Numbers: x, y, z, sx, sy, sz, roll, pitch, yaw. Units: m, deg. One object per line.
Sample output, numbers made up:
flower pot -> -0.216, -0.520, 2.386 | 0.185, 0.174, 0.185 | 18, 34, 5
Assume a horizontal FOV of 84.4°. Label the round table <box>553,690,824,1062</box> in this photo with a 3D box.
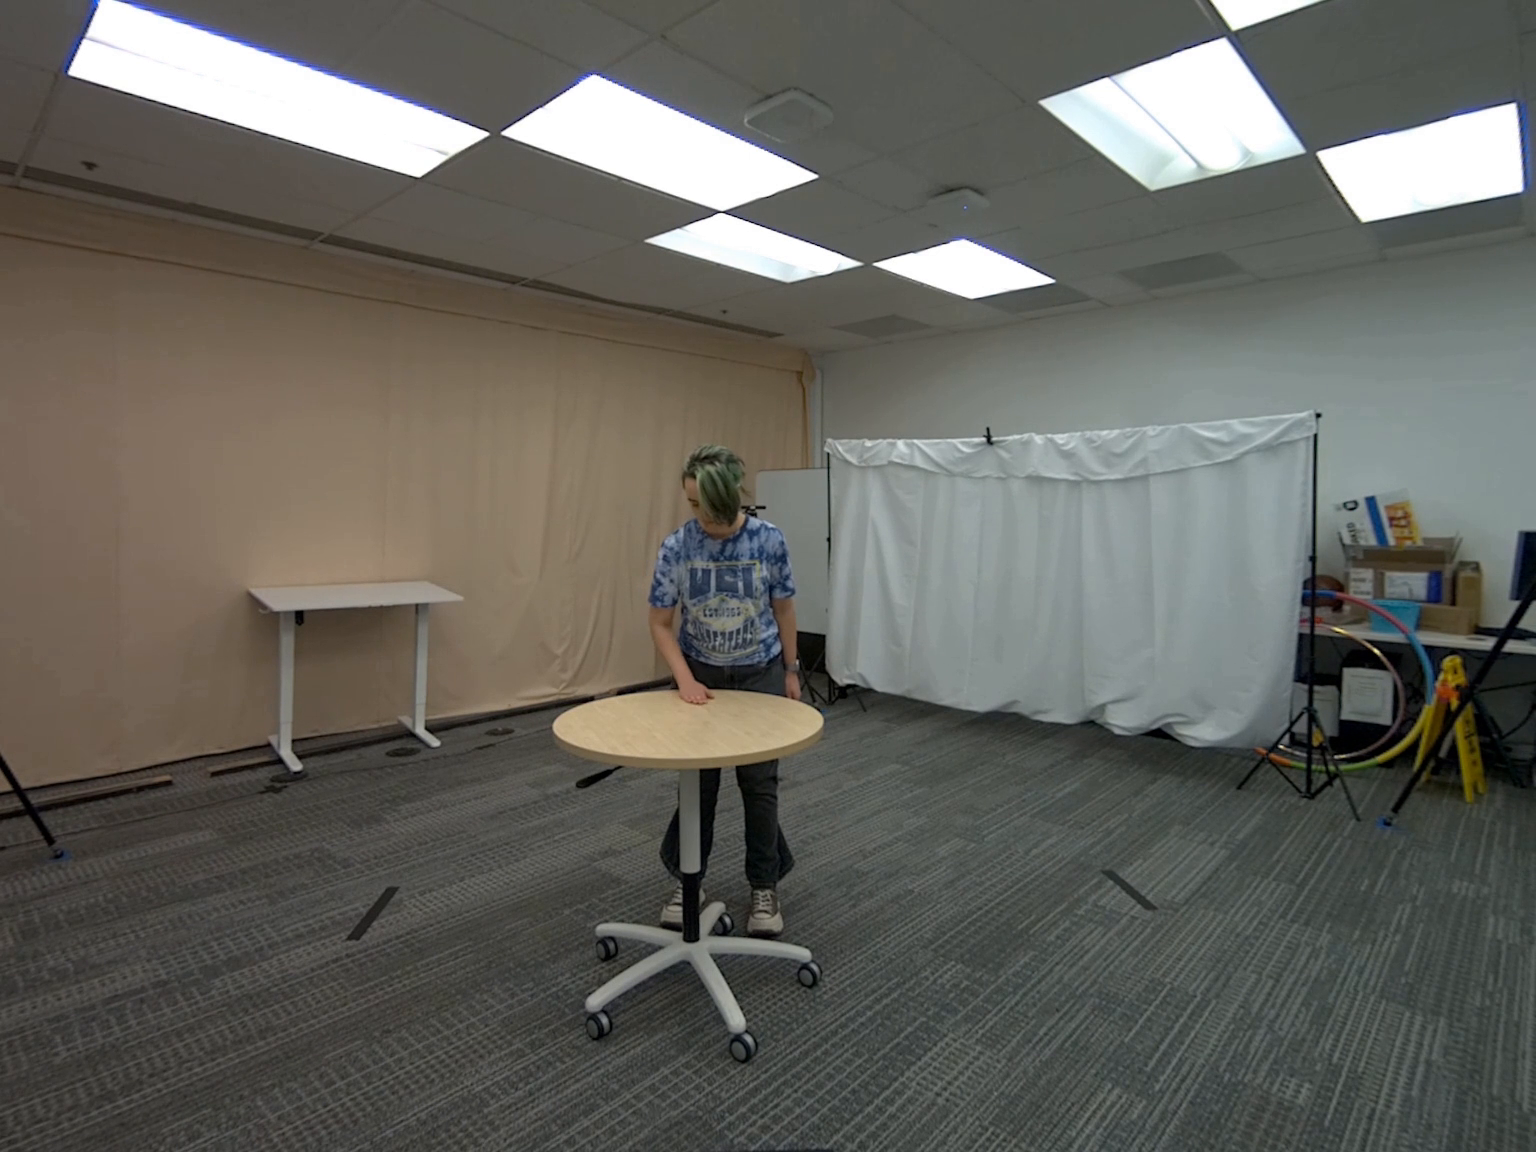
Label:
round table -> -0.231, 0.795, 2.435 | 0.784, 0.785, 0.788 | 0, 4, -2
